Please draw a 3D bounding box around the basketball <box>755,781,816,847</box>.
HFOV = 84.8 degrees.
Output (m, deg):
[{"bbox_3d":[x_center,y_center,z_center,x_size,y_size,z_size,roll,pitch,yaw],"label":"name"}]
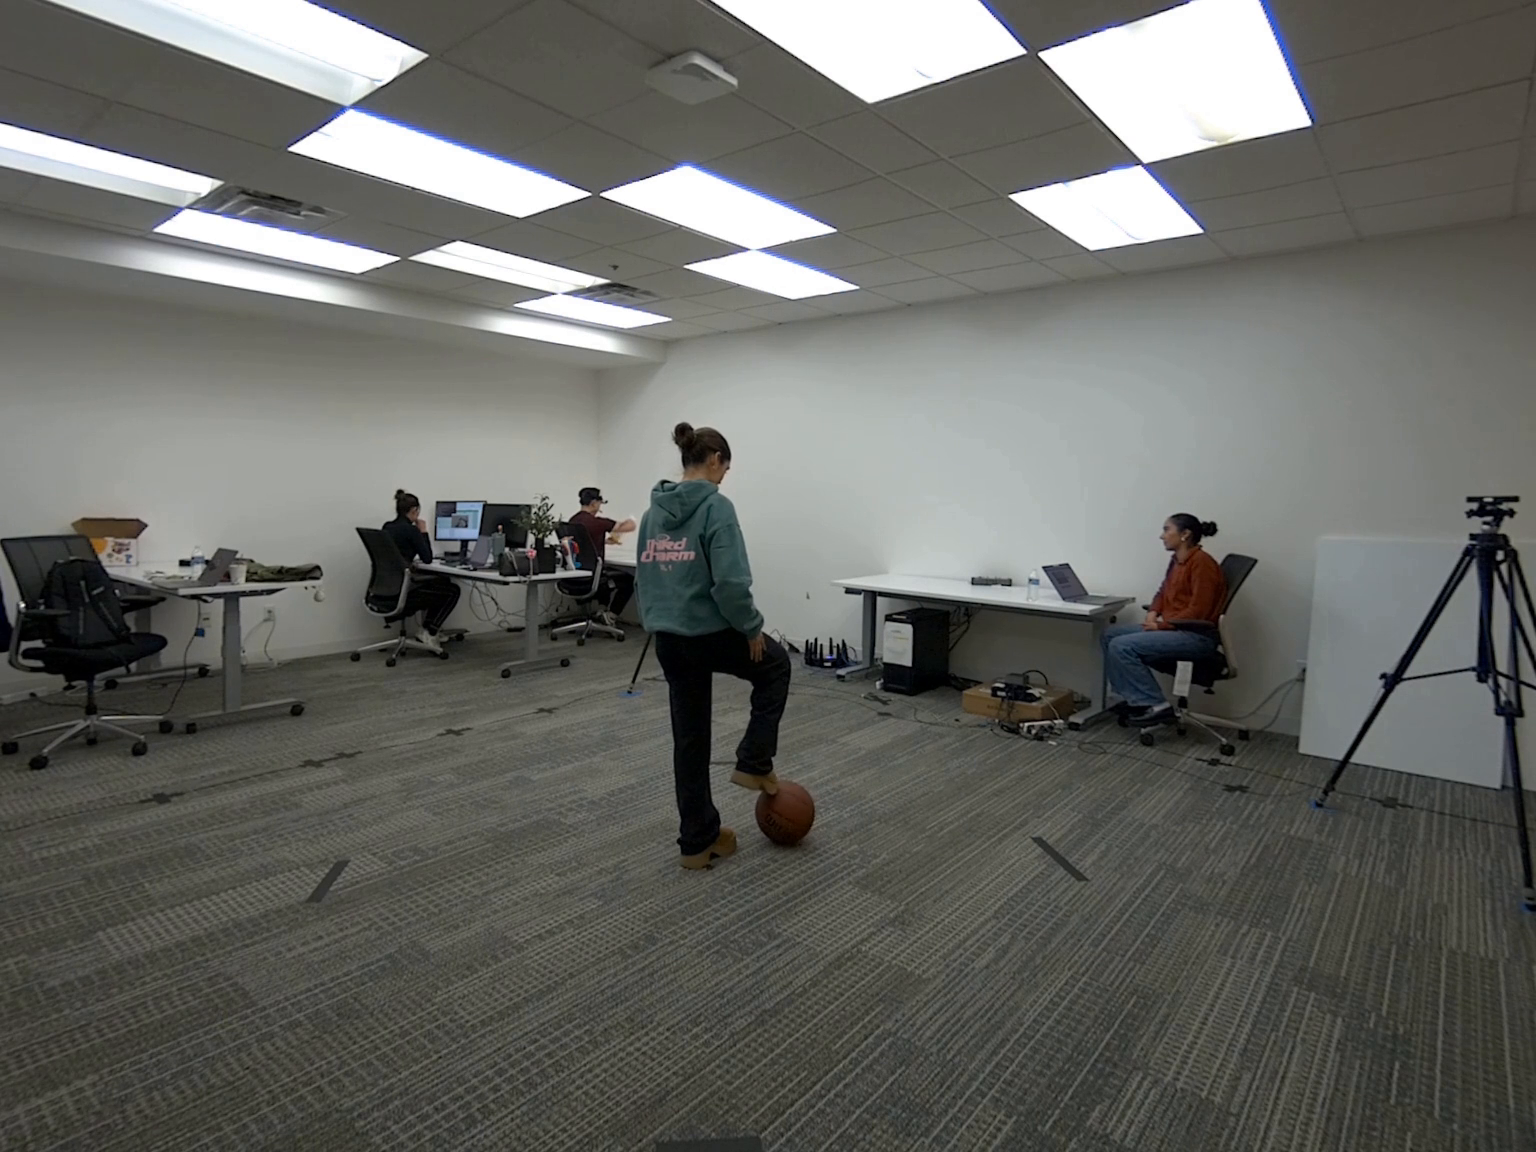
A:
[{"bbox_3d":[0.068,0.925,3.360,0.236,0.235,0.237,1,4,-2],"label":"basketball"}]
